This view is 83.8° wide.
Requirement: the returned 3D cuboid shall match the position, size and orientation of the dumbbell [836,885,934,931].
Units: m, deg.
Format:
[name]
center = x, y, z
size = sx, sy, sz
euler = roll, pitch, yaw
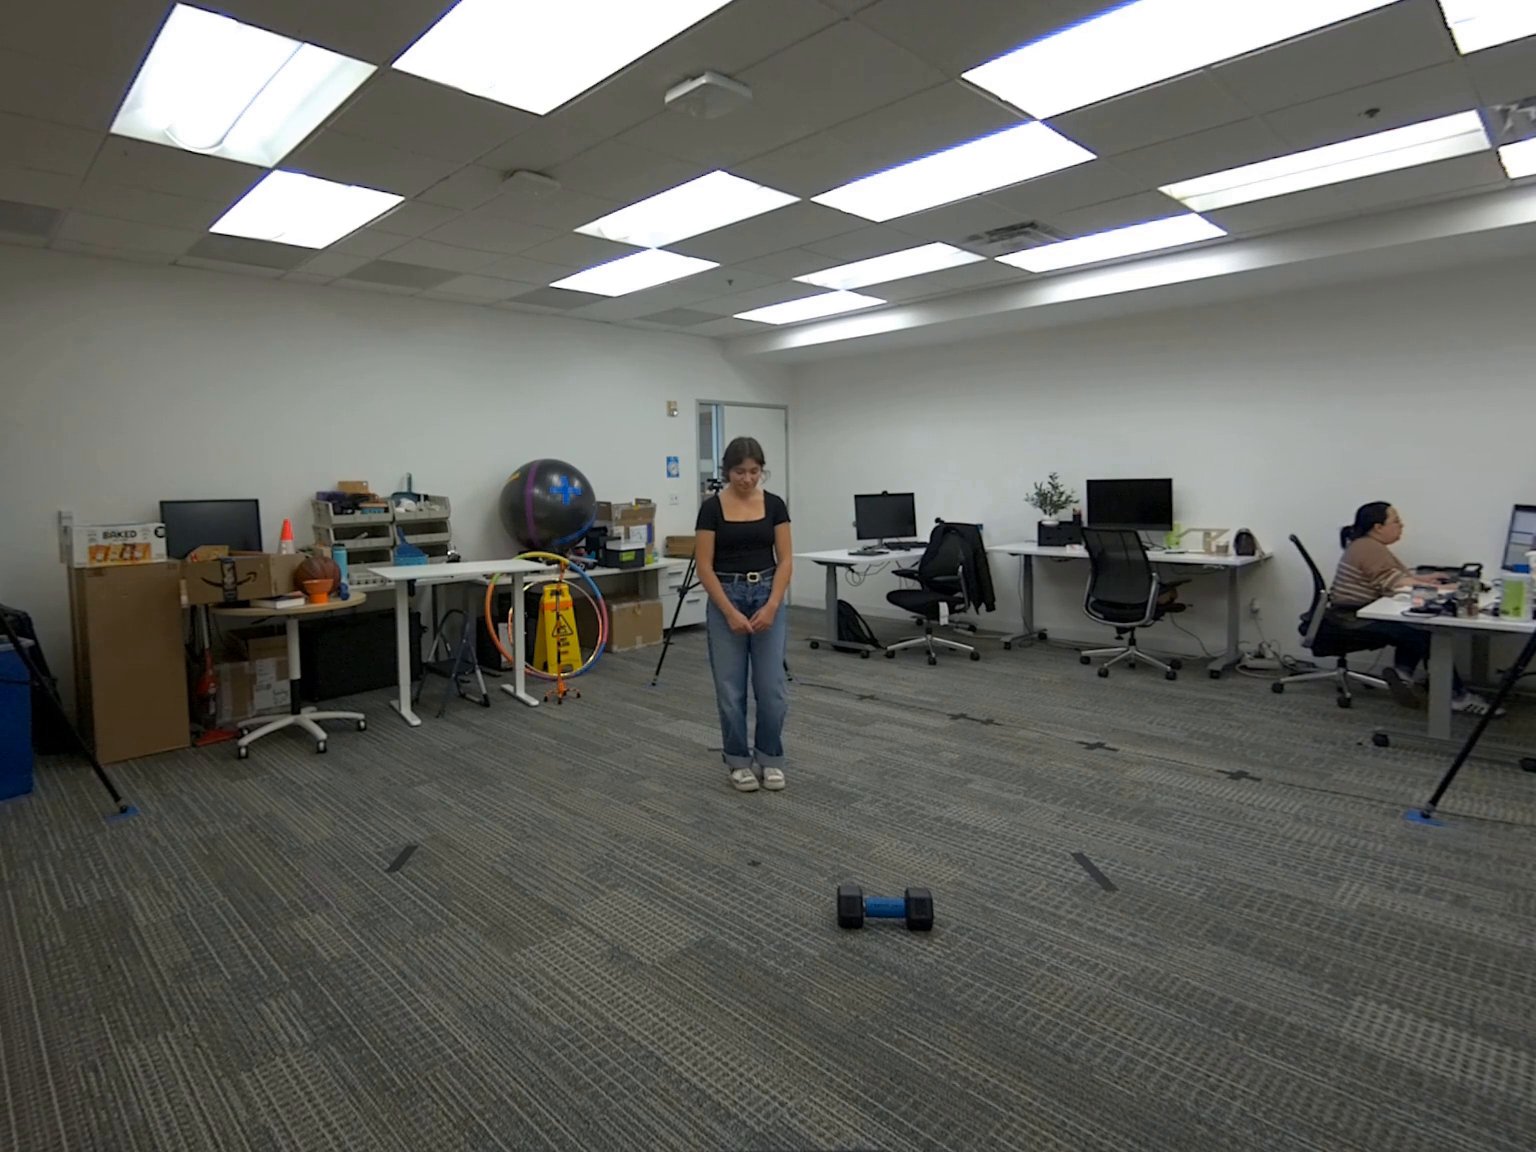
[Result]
[dumbbell]
center = 0.370, 1.040, 2.658
size = 0.295, 0.120, 0.111
euler = -1, 34, 4
